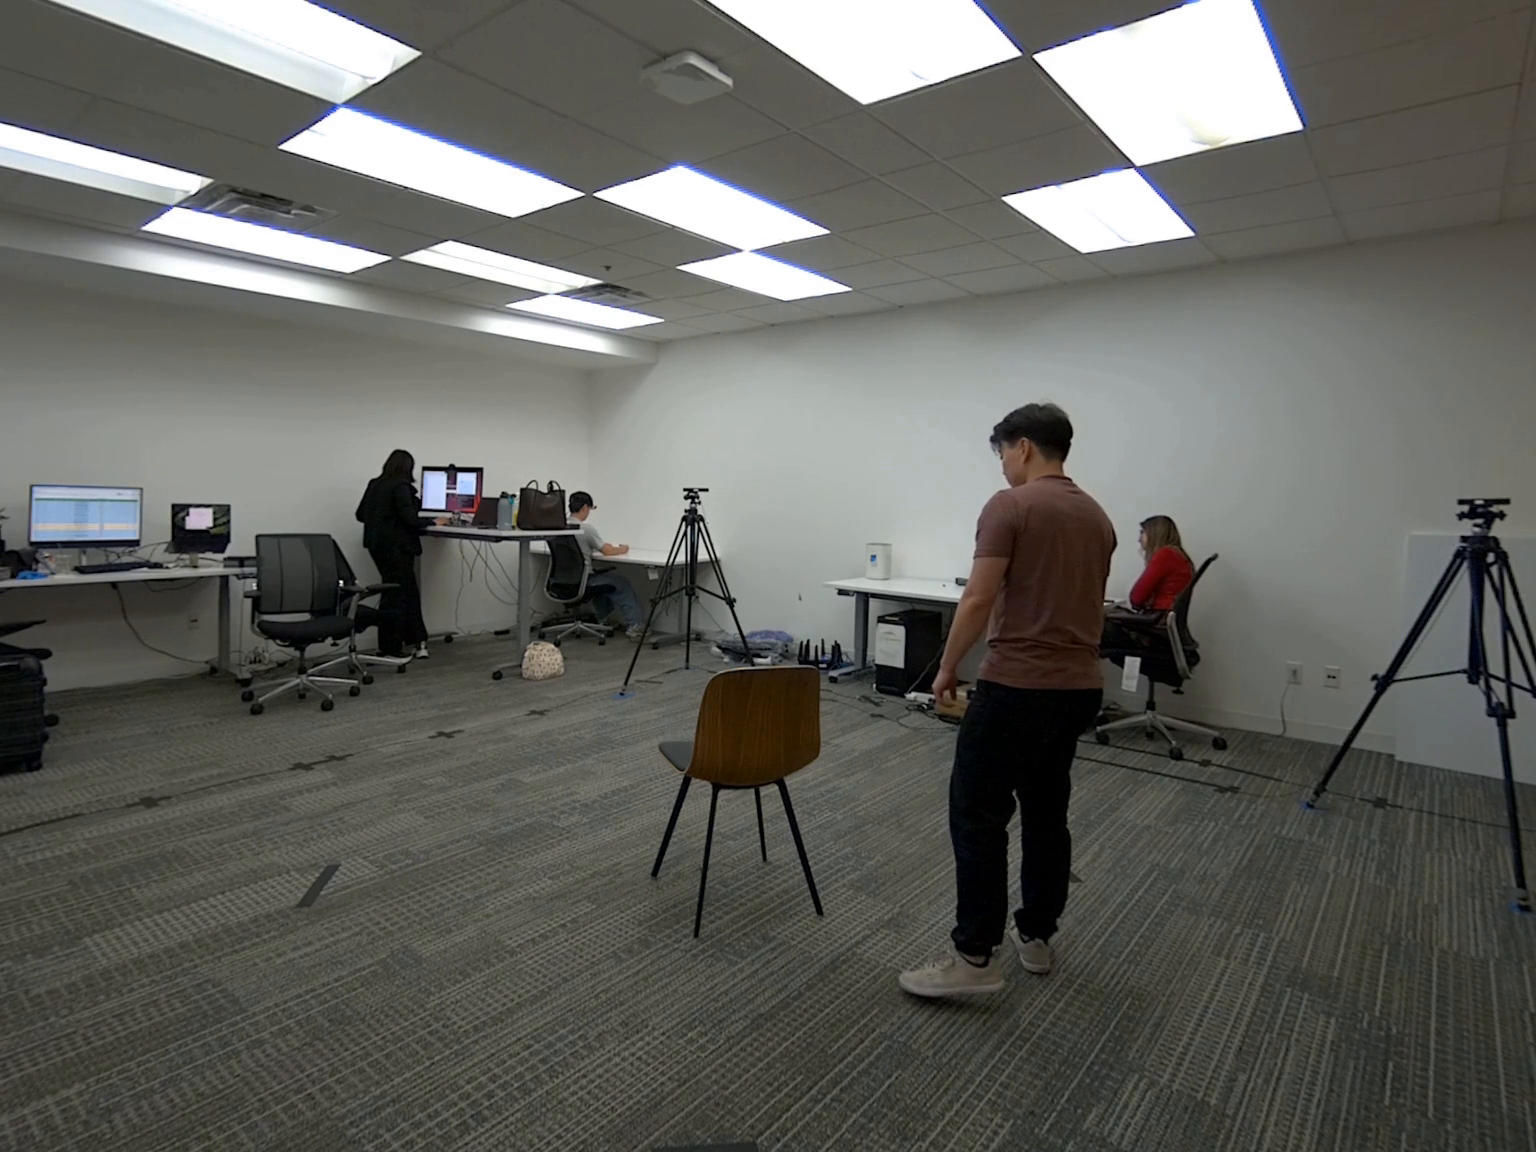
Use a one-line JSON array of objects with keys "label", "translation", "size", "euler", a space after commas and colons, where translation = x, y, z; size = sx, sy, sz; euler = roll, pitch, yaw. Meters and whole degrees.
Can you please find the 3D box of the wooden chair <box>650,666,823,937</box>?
[{"label": "wooden chair", "translation": [-0.117, 0.667, 2.891], "size": [0.467, 0.872, 0.538], "euler": [0, 8, -24]}]
